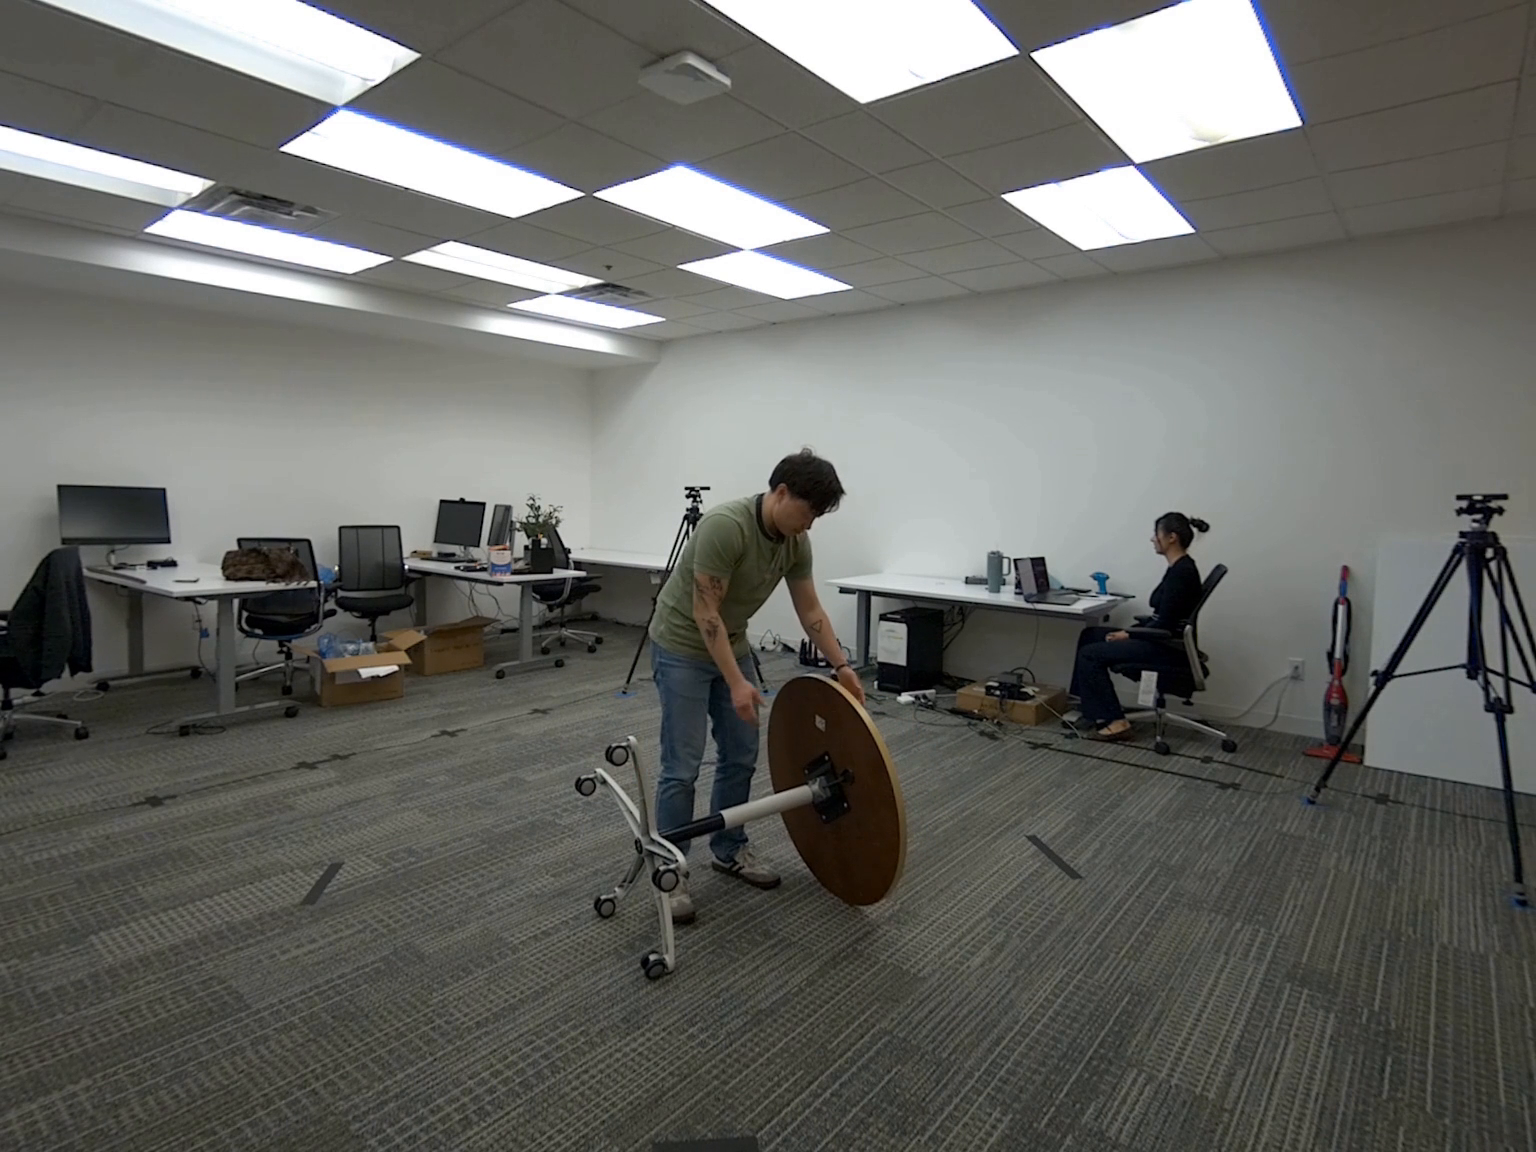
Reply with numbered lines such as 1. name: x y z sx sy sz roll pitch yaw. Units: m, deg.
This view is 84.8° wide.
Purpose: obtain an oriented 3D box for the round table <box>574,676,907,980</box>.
1. round table: -0.128 0.777 2.706 0.776 0.759 0.787 -9 9 -29
